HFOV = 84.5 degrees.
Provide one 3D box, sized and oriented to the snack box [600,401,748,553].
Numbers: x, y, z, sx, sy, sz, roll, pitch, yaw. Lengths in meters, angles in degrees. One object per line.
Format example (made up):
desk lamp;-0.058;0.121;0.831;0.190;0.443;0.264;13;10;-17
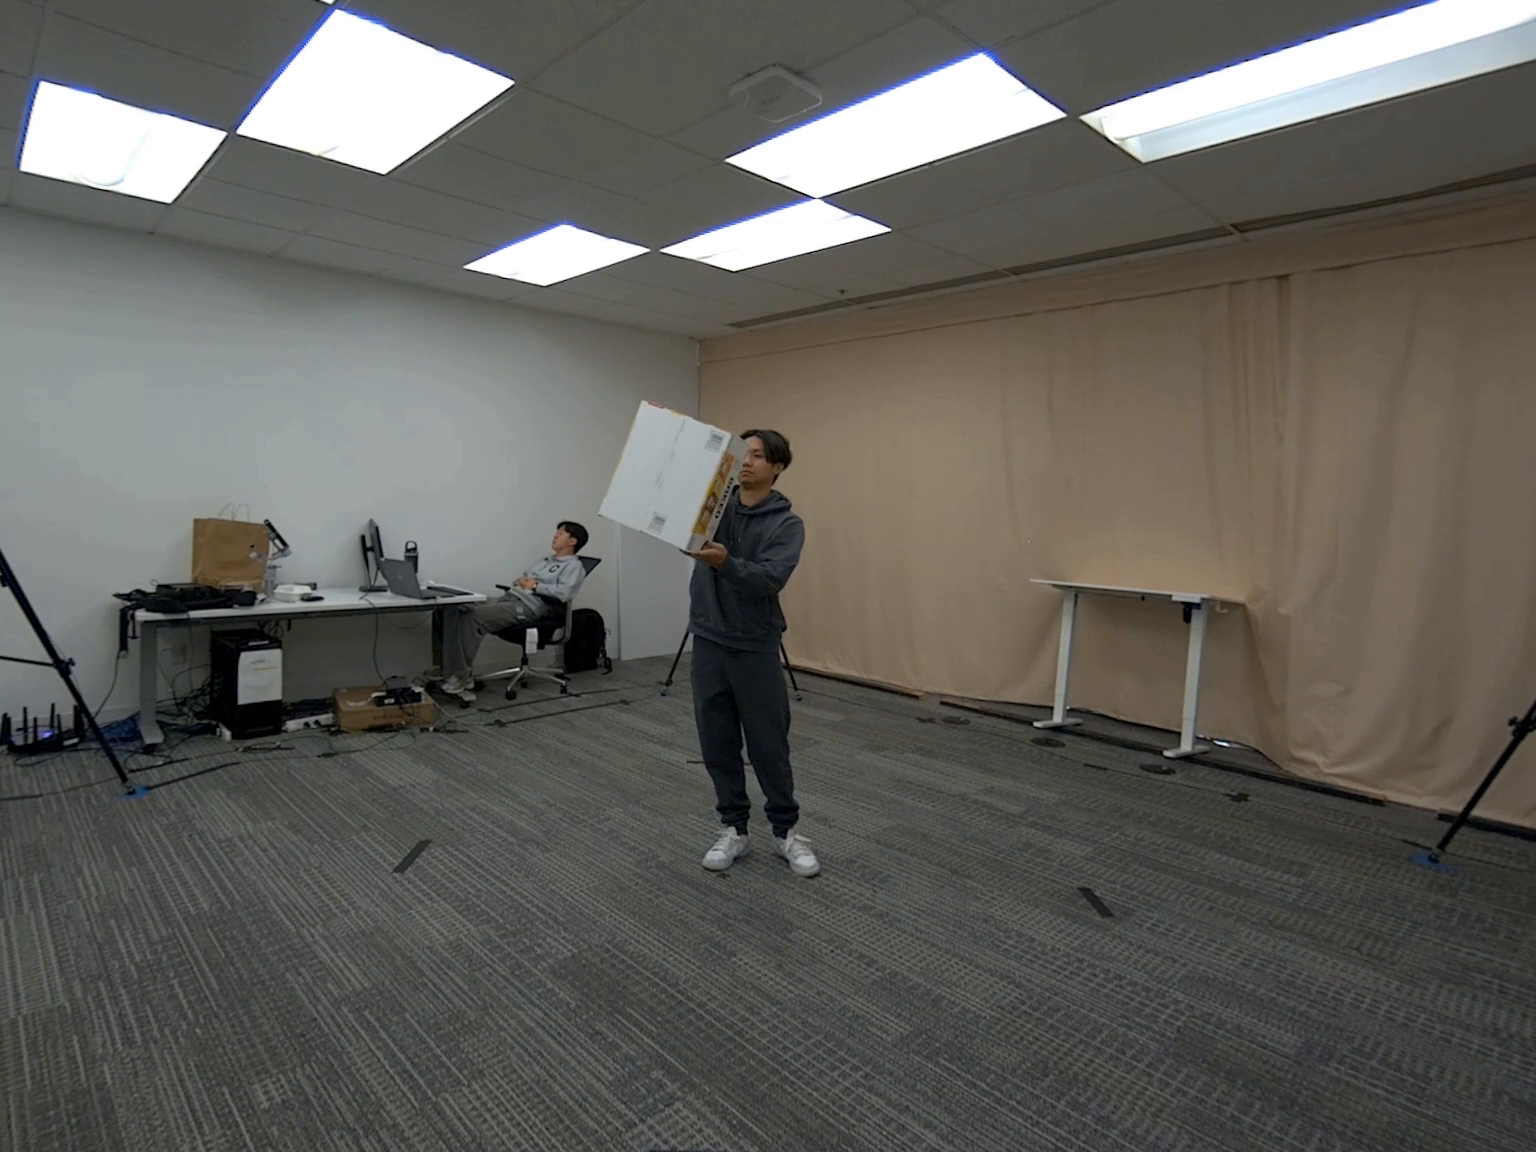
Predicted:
snack box;-0.321;-0.324;2.793;0.346;0.404;0.202;22;3;17
